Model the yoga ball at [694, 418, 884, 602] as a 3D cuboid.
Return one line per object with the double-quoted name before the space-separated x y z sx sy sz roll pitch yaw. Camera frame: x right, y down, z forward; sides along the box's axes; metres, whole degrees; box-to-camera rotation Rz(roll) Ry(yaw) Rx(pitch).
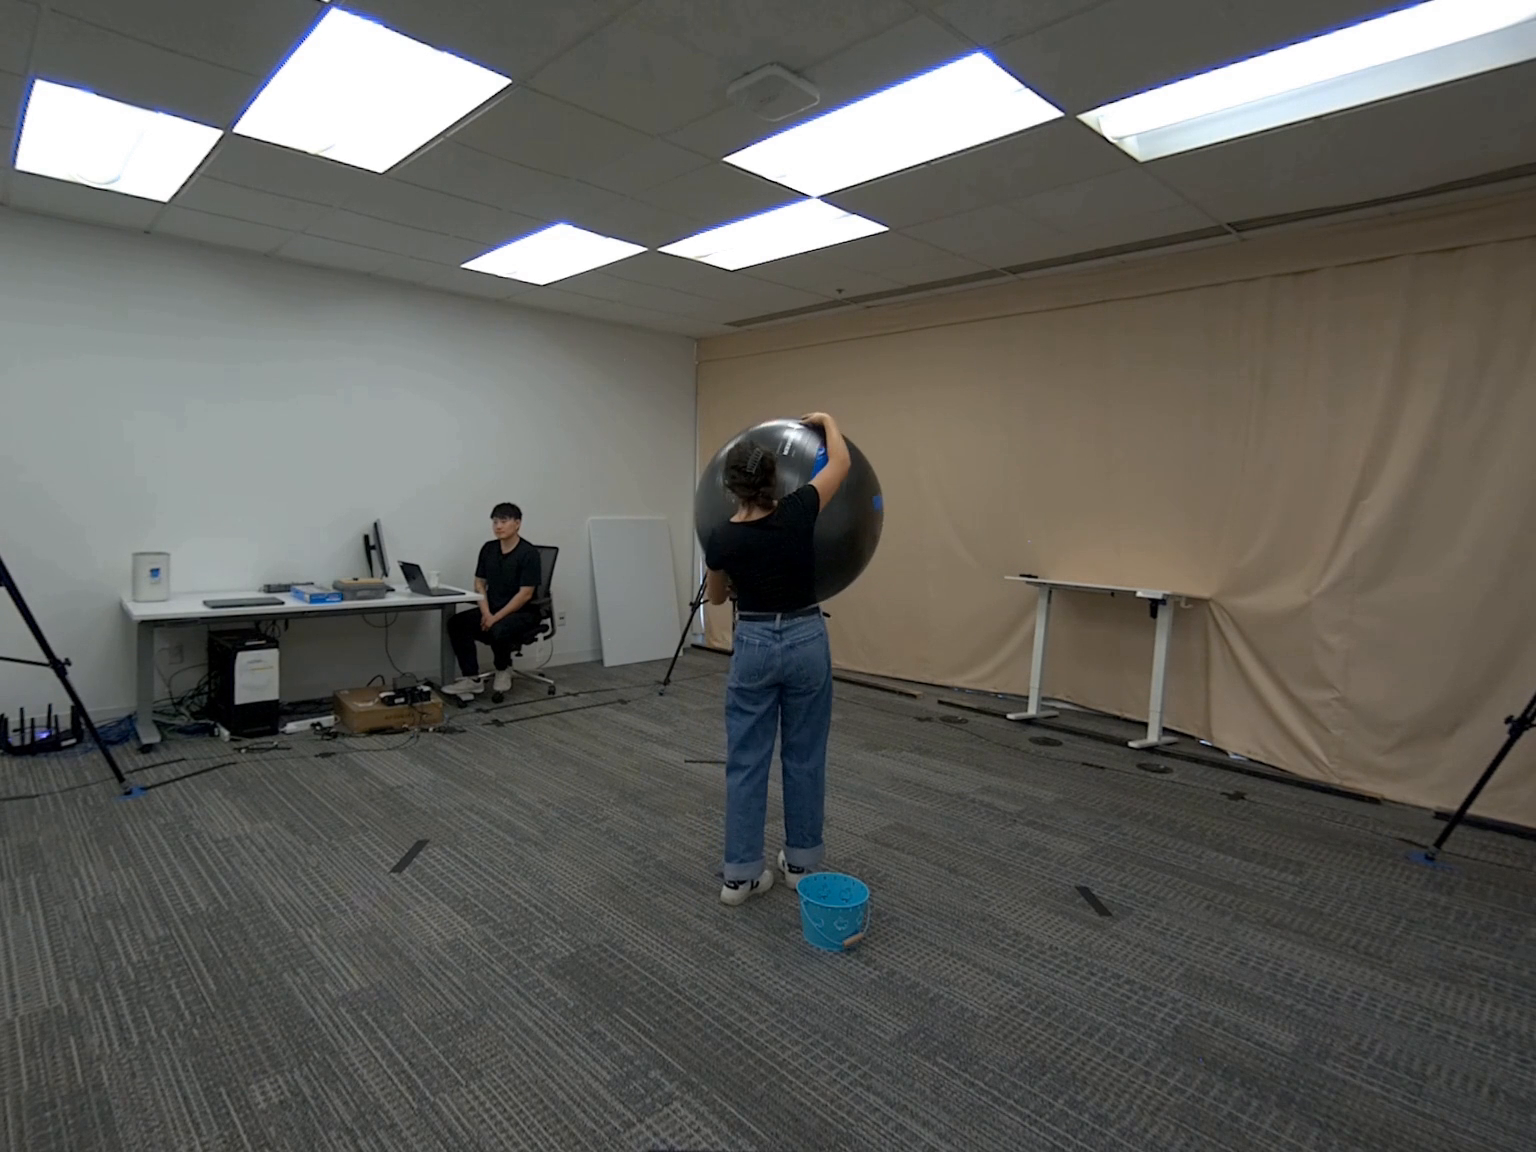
"yoga ball" 0.078 -0.254 3.401 0.757 0.756 0.761 1 4 -1
